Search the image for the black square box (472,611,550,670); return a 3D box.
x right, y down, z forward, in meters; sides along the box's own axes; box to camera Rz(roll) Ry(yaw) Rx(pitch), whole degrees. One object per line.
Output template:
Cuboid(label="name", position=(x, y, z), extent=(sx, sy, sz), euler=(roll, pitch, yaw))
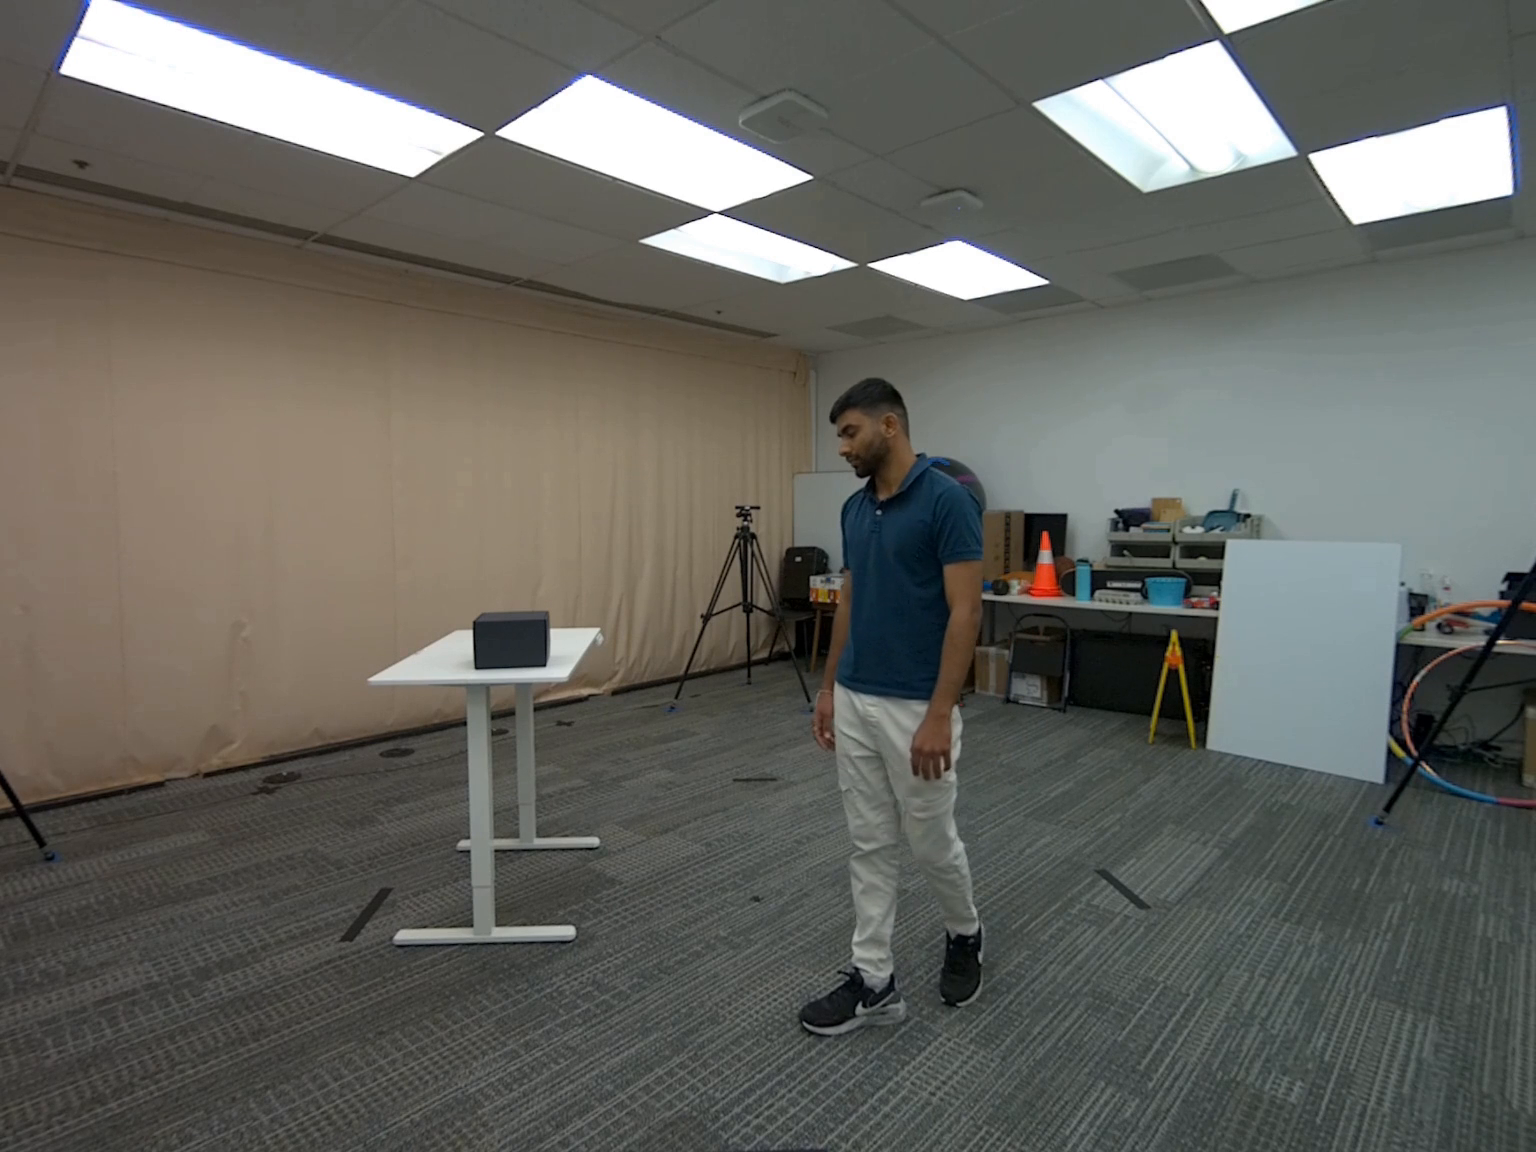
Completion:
Cuboid(label="black square box", position=(-0.850, 0.210, 2.800), extent=(0.227, 0.155, 0.218), euler=(-3, 5, -5))
